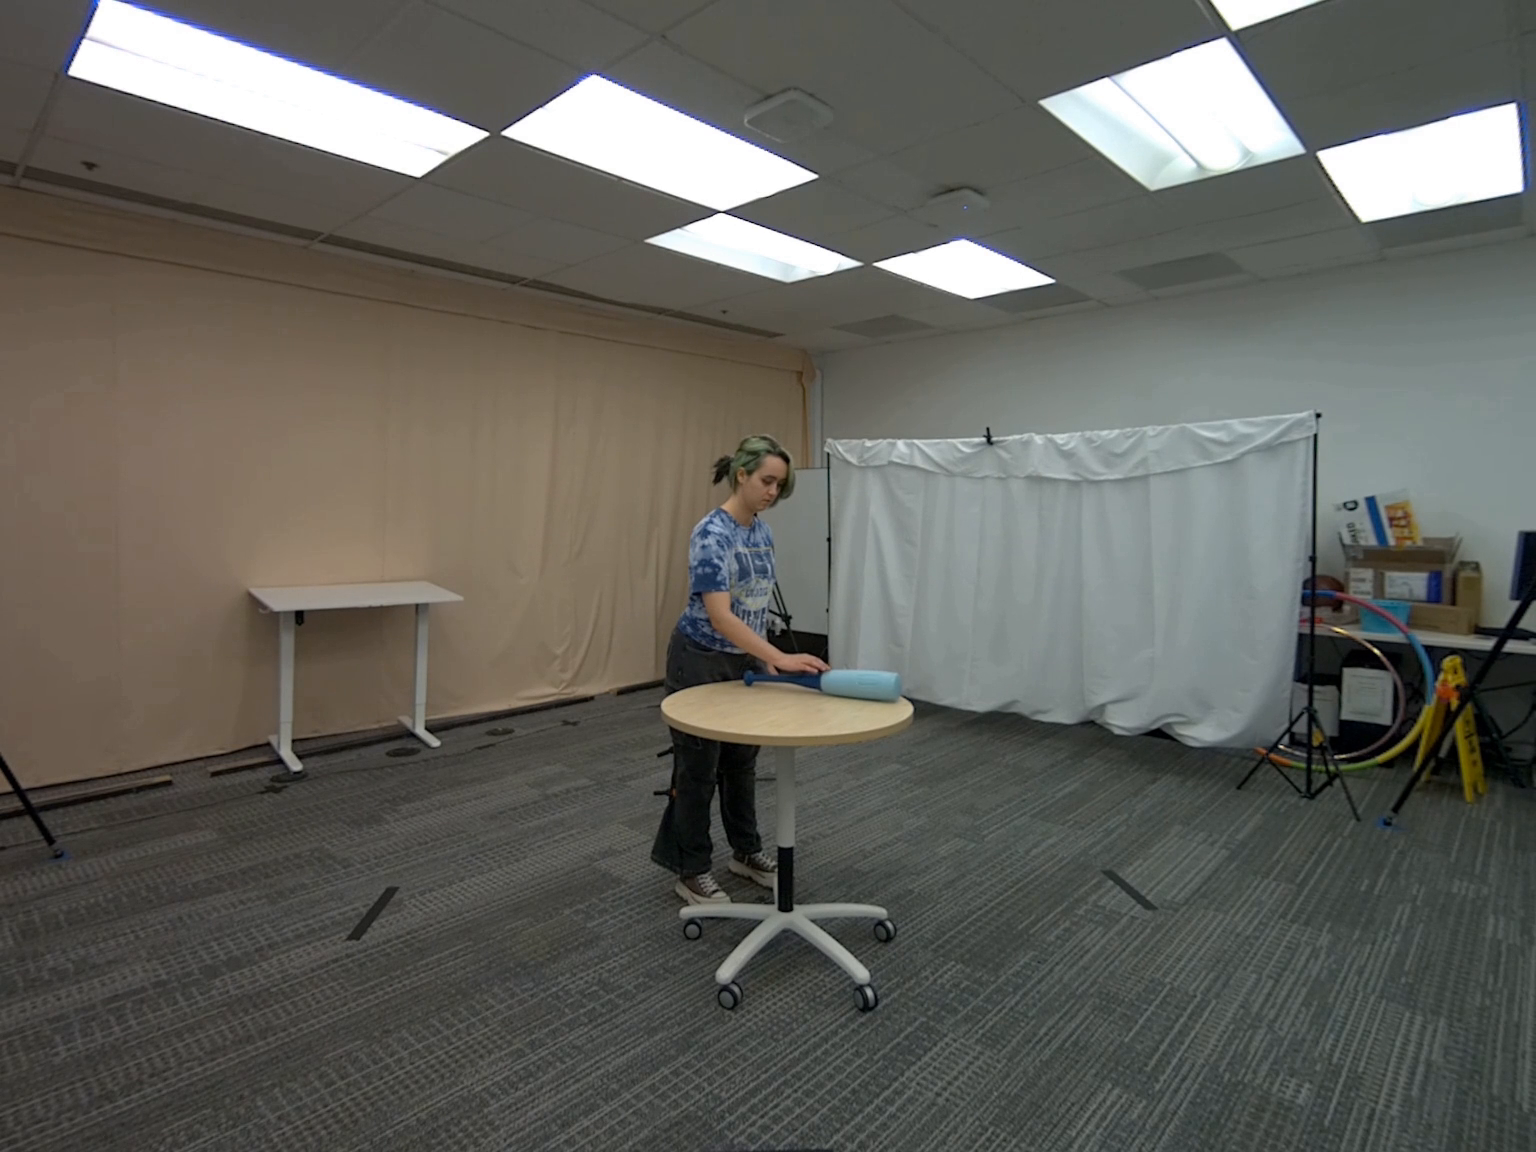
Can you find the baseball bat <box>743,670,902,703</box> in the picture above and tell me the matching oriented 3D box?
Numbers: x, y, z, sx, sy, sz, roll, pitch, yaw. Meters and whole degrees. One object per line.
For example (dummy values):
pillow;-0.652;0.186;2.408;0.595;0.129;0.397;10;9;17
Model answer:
baseball bat;0.167;0.347;2.722;0.558;0.089;0.087;-1;3;30
